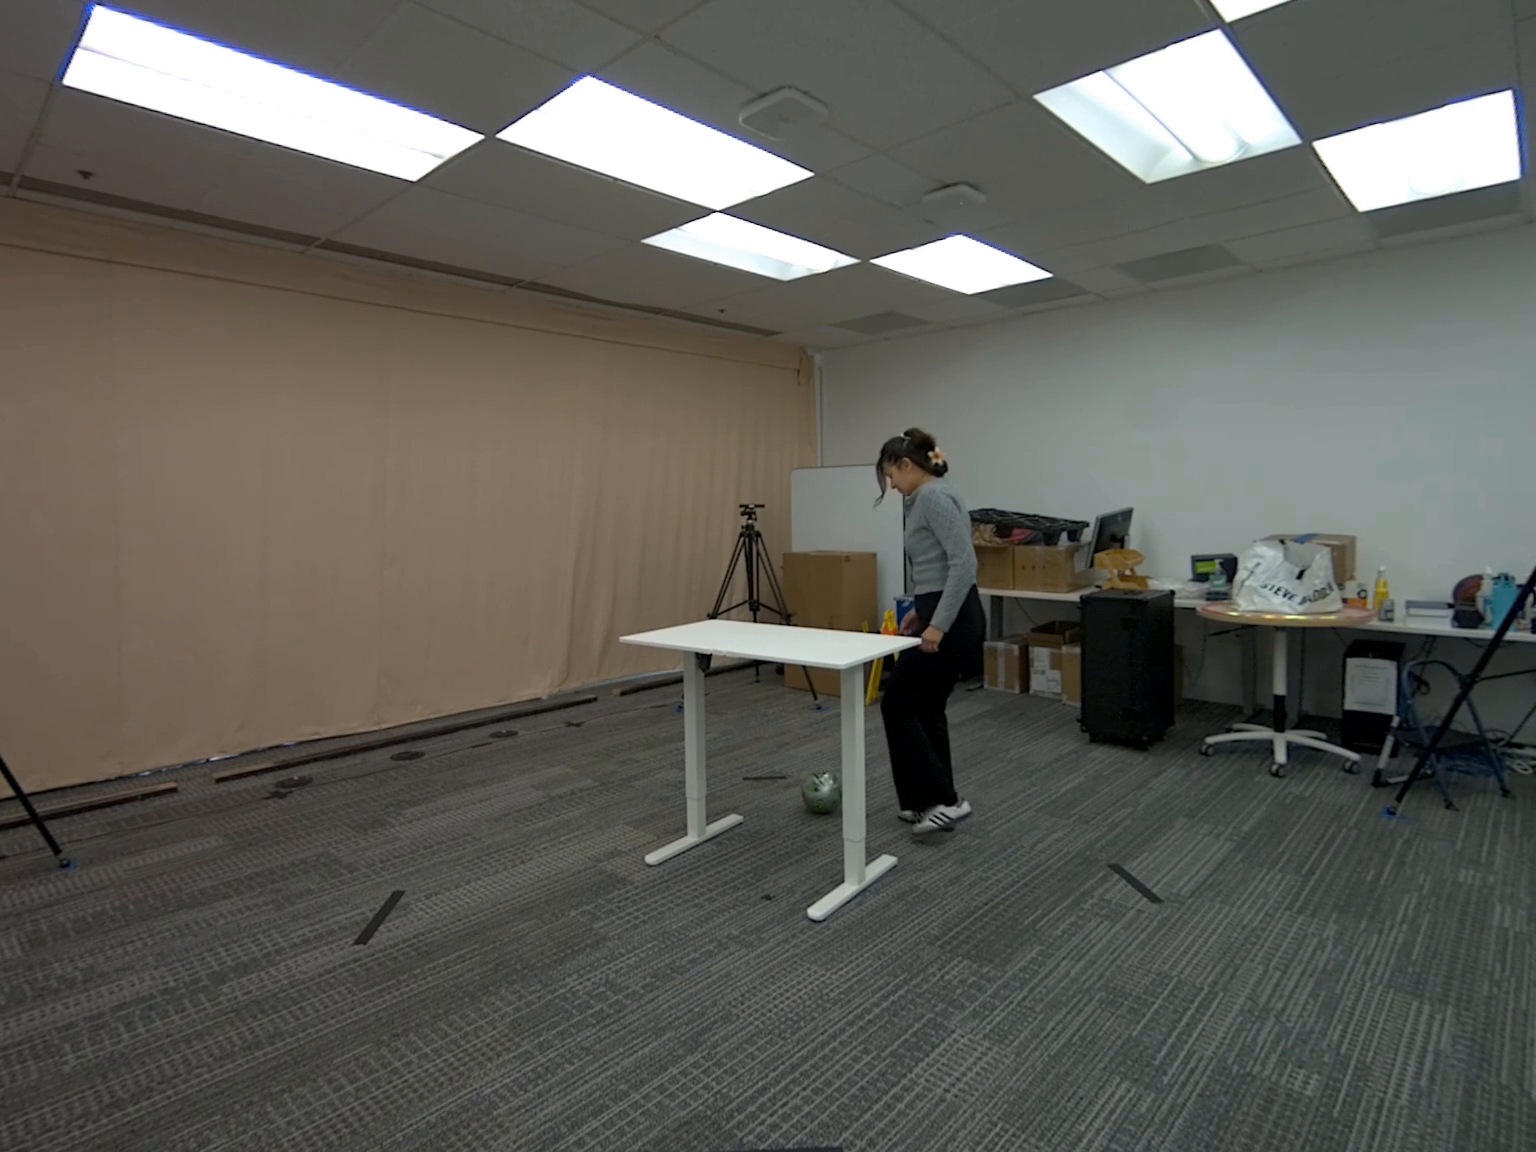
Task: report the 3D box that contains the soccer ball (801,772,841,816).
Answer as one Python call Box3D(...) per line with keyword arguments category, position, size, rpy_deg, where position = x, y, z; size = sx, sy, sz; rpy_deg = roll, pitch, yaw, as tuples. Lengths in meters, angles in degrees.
Box3D(category="soccer ball", position=(0.242, 0.976, 3.805), size=(0.187, 0.187, 0.188), rpy_deg=(-1, 4, -2))
